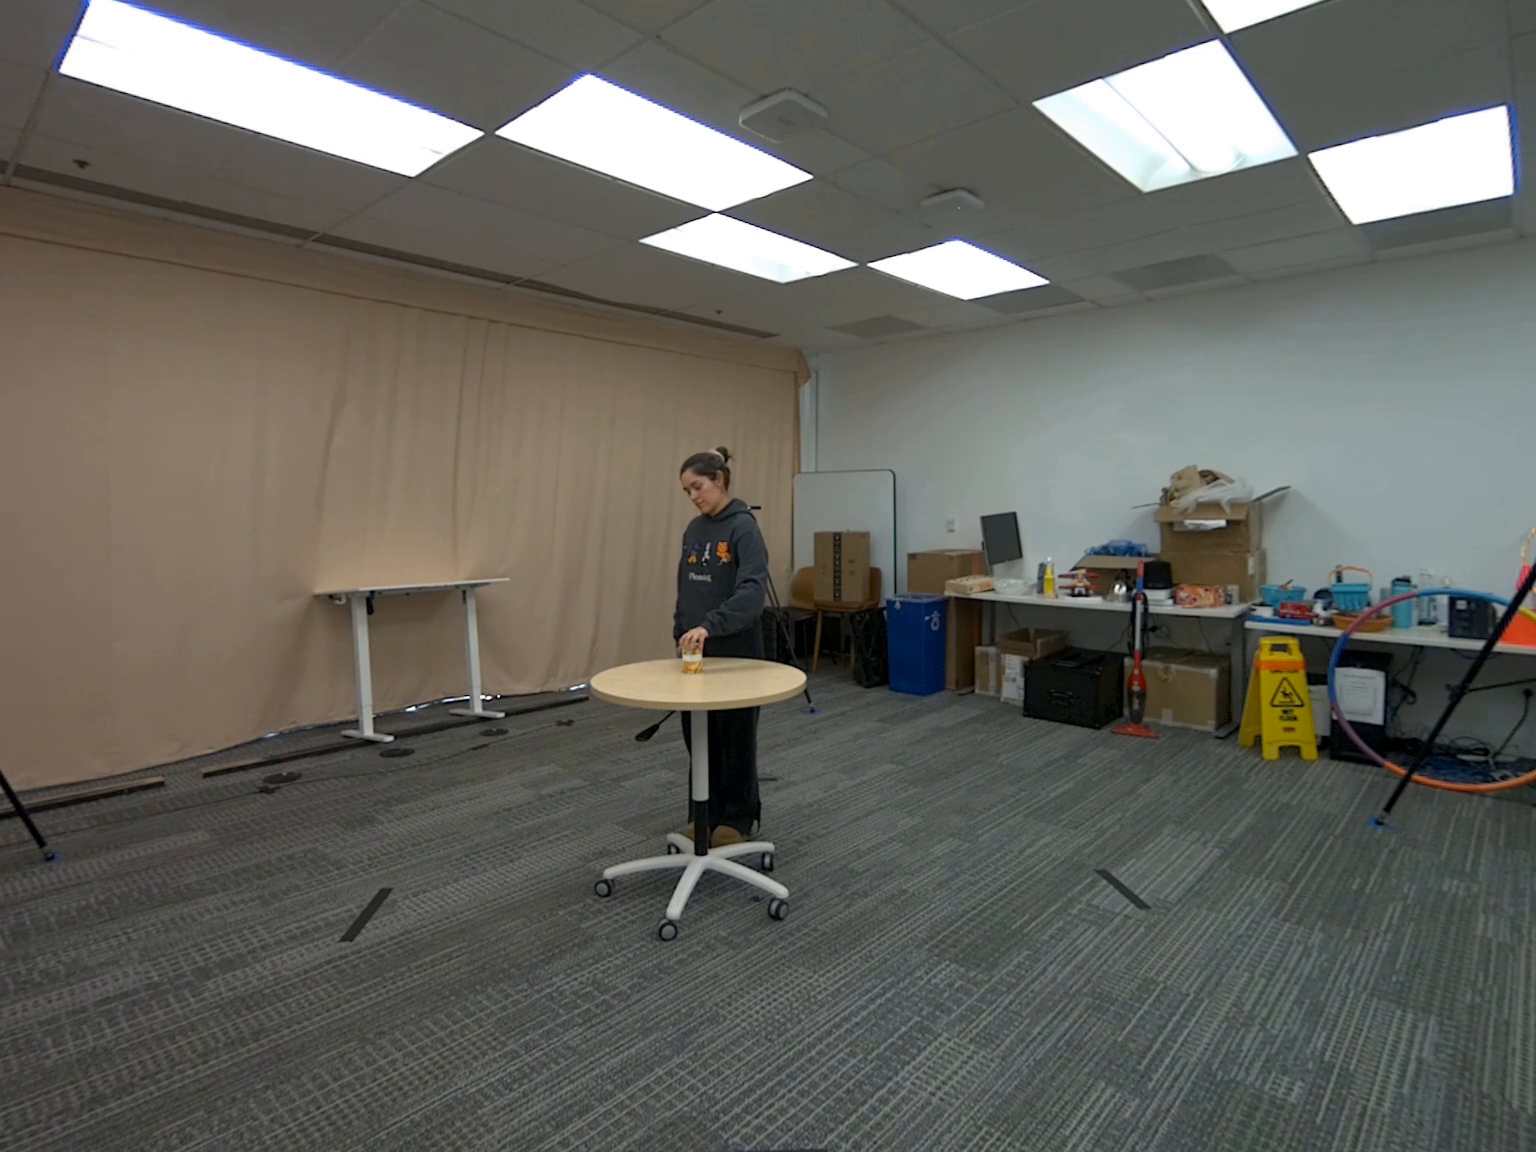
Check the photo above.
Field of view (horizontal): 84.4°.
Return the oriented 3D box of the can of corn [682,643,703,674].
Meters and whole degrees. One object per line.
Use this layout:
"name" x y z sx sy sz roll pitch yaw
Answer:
"can of corn" -0.241 0.284 3.098 0.074 0.111 0.074 4 3 -2
